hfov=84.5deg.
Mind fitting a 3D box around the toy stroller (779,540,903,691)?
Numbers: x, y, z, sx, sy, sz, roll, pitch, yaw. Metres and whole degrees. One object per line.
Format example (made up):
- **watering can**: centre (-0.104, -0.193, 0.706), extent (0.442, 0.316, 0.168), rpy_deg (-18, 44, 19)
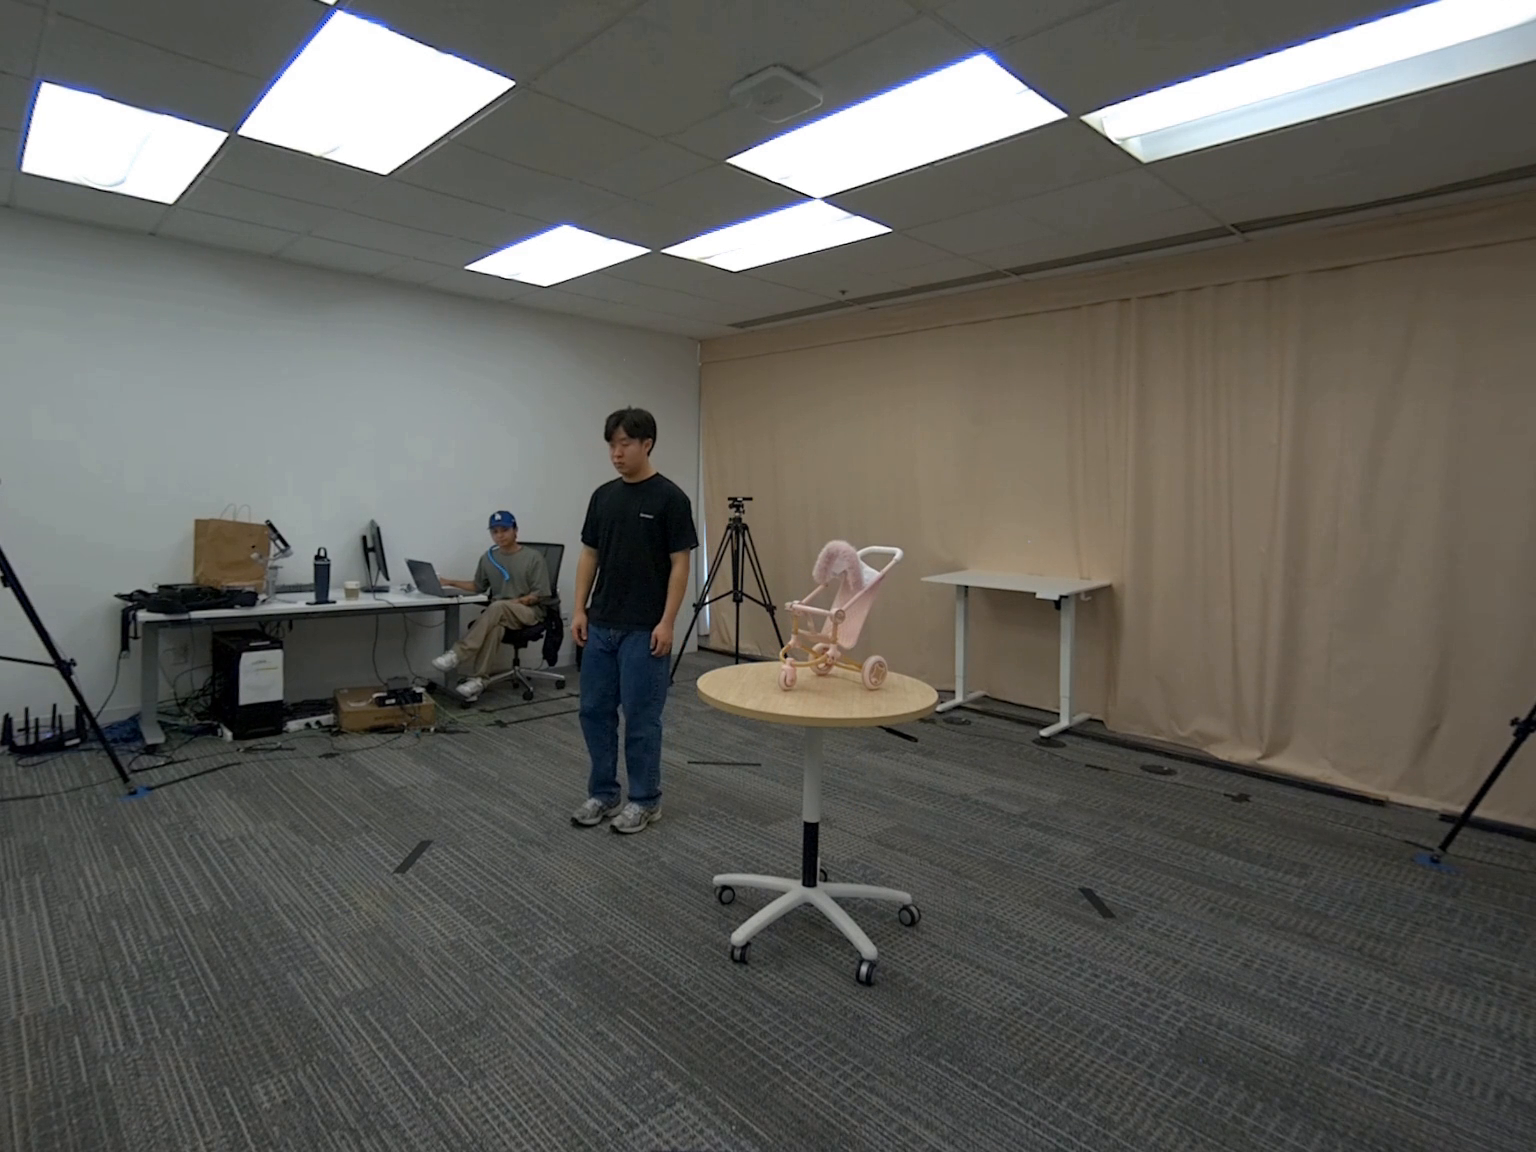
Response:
- **toy stroller**: centre (0.207, 0.130, 2.723), extent (0.332, 0.536, 0.288), rpy_deg (15, -4, -32)
